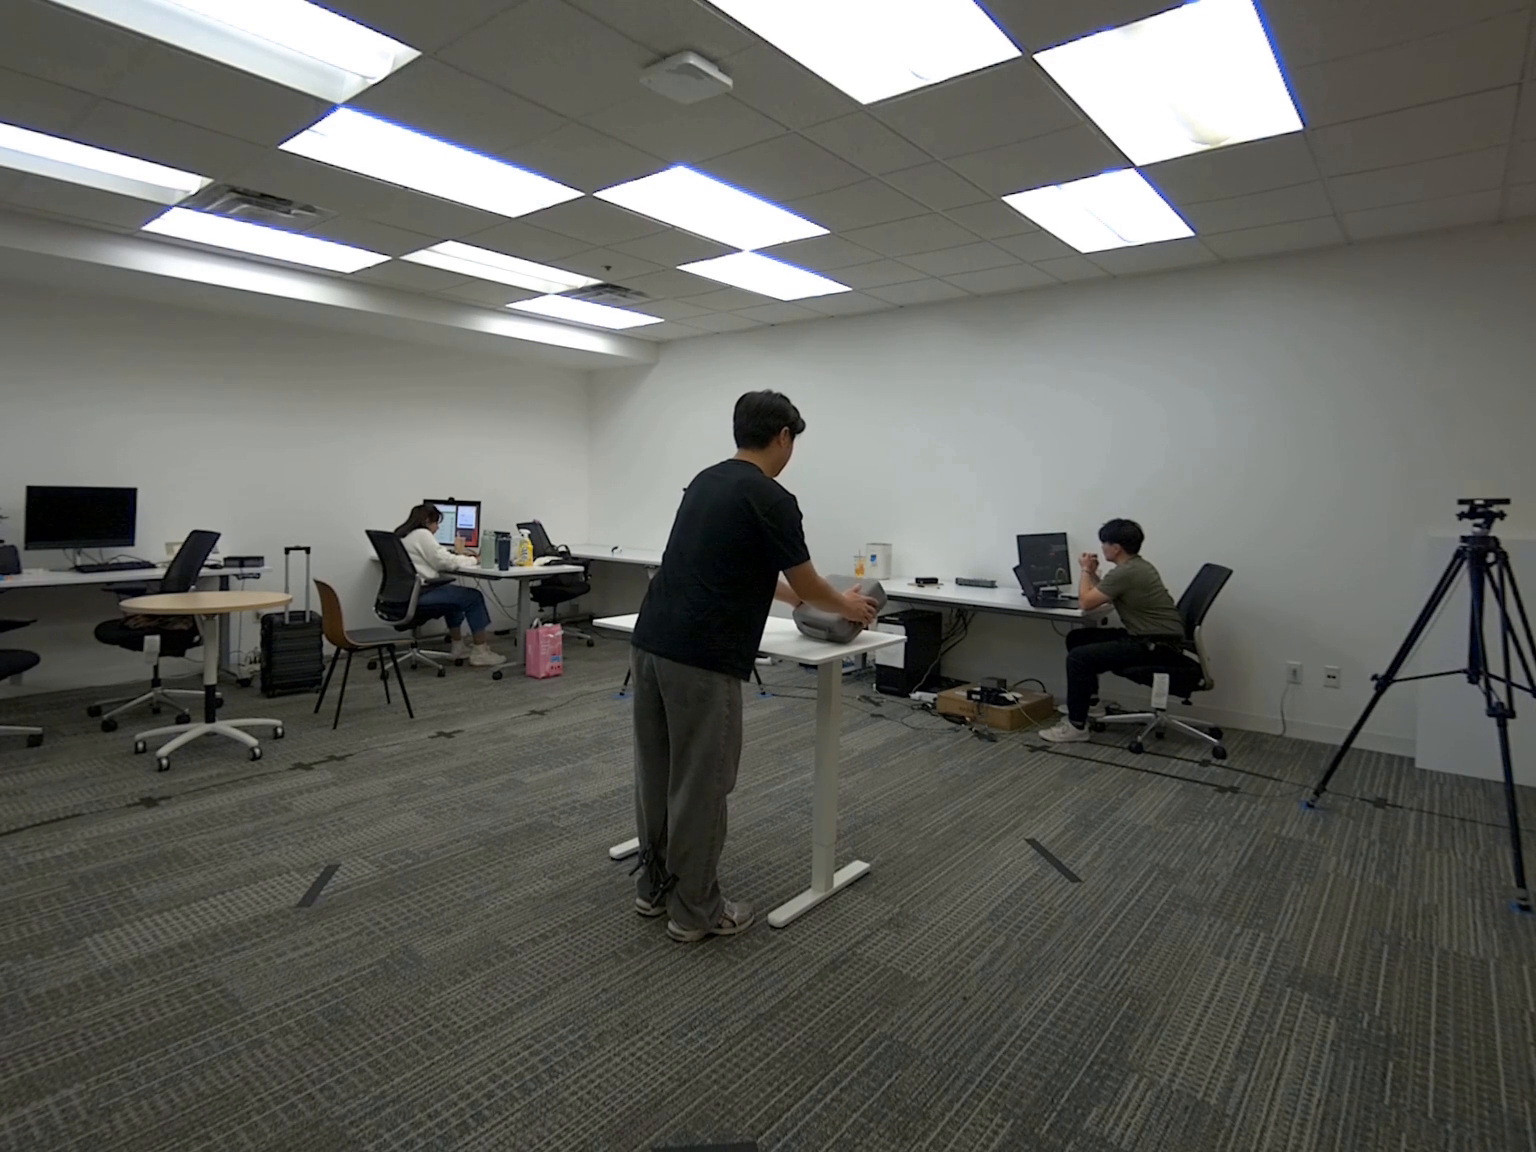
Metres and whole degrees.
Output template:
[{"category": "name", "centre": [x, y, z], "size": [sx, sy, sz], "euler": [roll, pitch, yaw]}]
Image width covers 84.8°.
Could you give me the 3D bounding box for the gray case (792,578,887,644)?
[{"category": "gray case", "centre": [0.244, 0.114, 2.963], "size": [0.266, 0.101, 0.259], "euler": [8, 39, 48]}]
